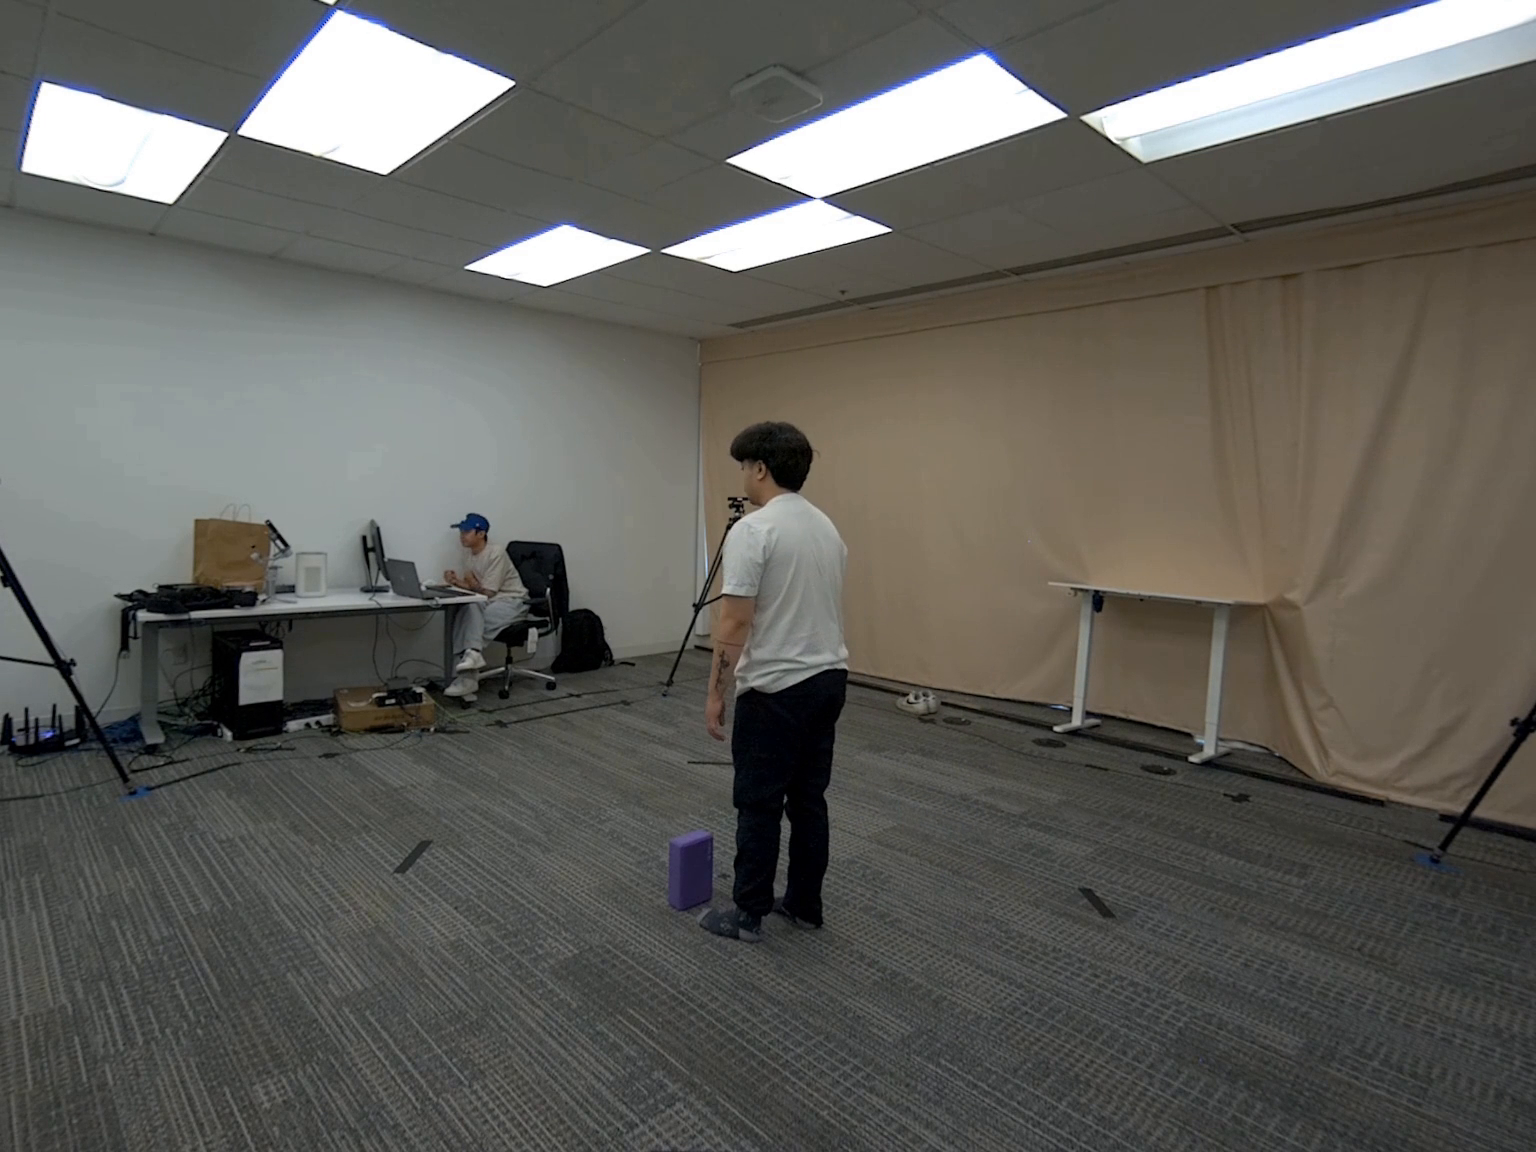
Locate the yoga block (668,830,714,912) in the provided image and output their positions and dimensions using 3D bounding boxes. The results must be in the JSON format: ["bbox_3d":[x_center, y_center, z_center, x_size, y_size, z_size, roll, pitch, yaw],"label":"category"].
[{"bbox_3d":[-0.274,1.010,2.894,0.146,0.229,0.078,-4,4,-40],"label":"yoga block"}]
